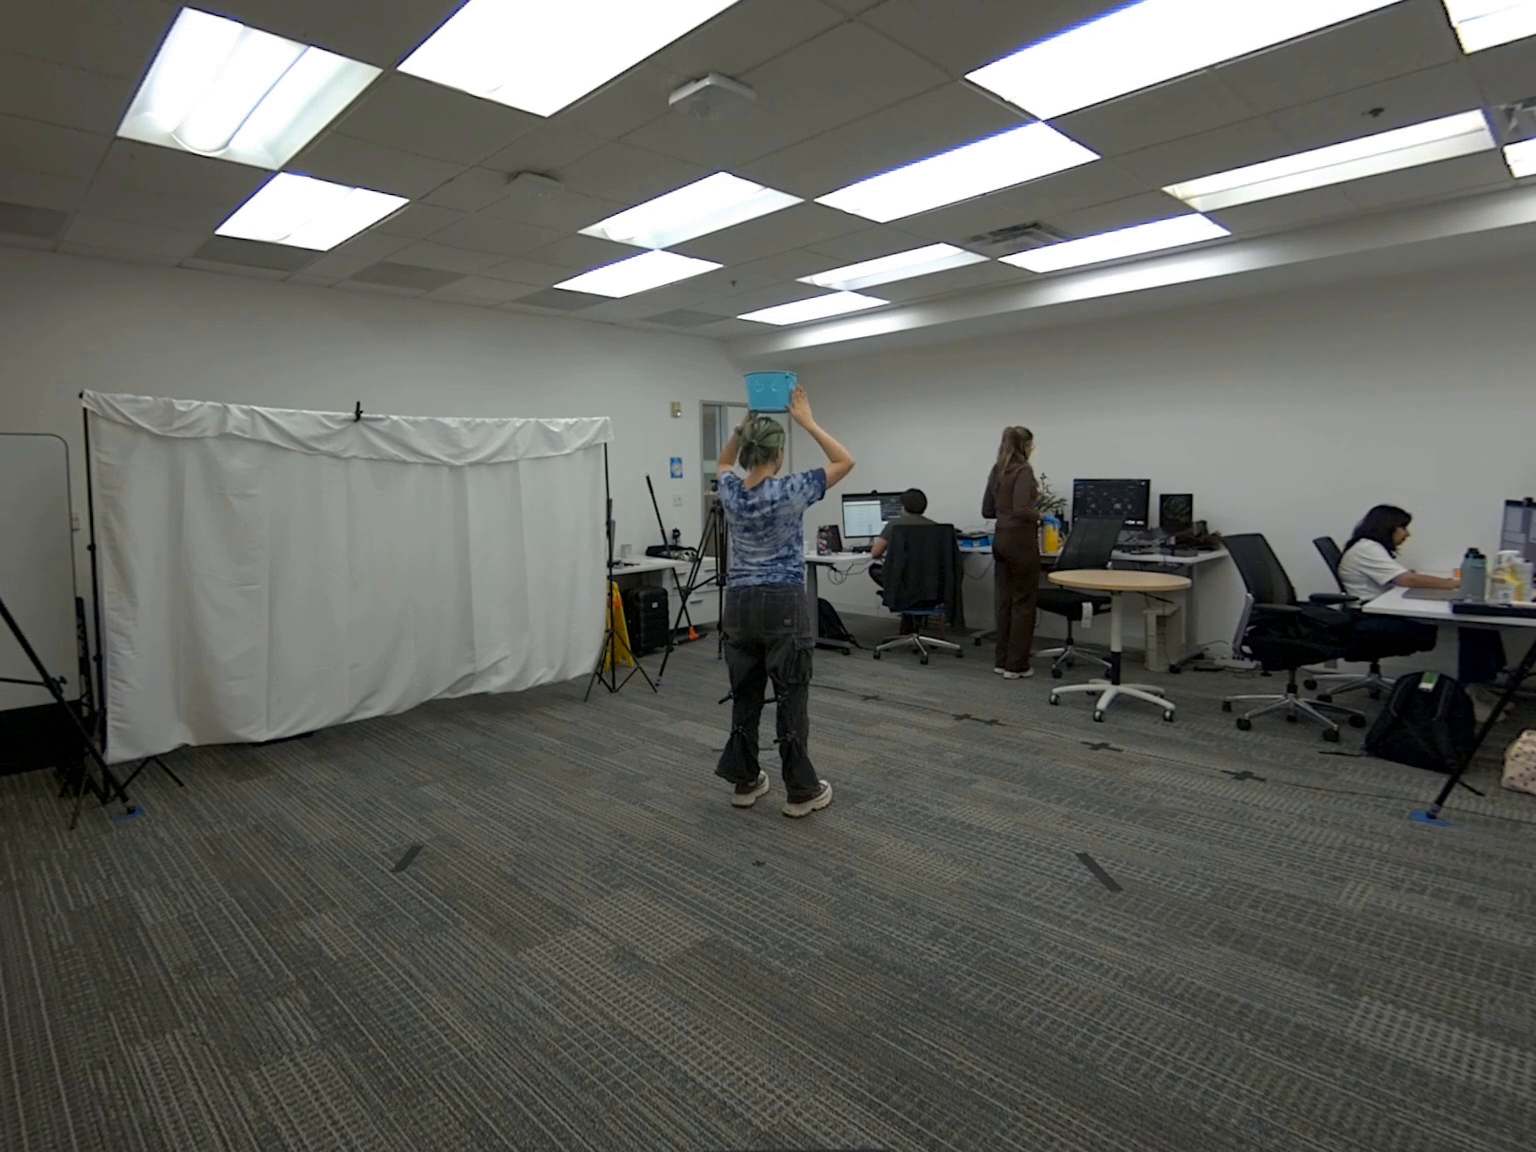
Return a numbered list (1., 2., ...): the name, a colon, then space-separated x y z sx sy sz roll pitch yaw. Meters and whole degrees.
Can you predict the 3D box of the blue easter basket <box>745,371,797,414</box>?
1. blue easter basket: 0.021 -0.777 3.666 0.243 0.155 0.245 1 5 -2
